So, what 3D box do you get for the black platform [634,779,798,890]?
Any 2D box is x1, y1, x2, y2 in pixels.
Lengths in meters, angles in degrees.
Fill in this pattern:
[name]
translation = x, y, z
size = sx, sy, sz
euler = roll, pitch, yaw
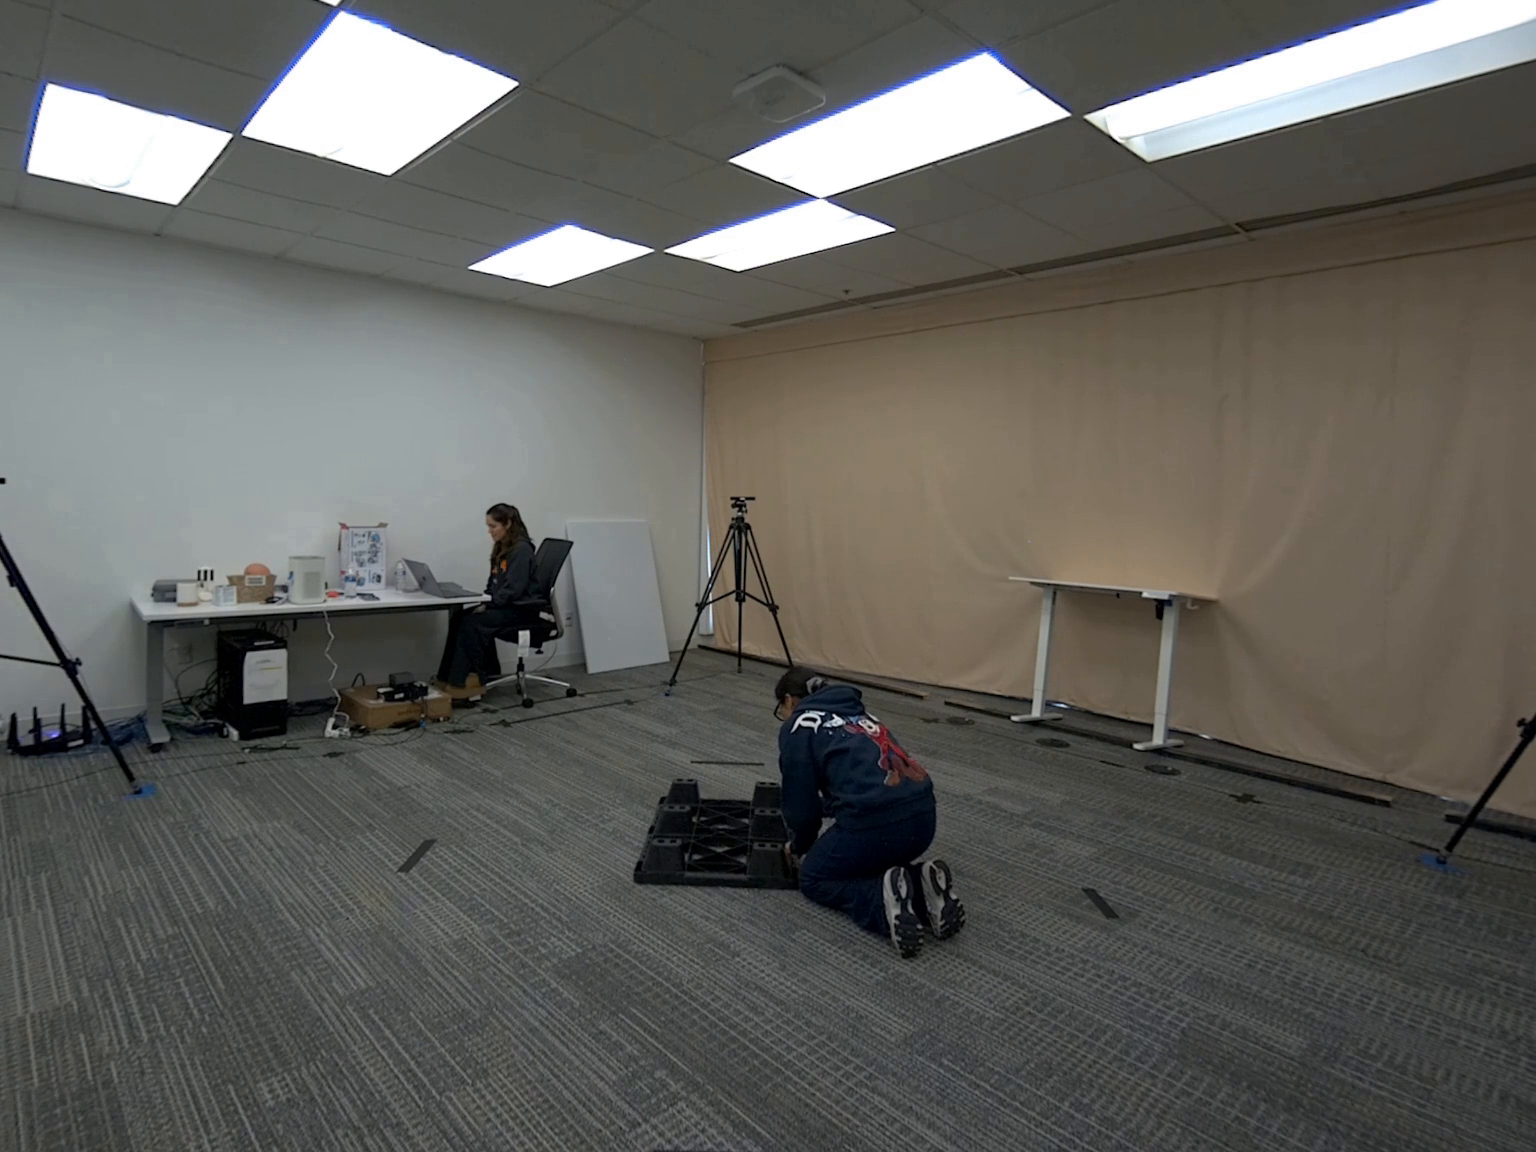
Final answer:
[black platform]
translation = -0.188, 1.012, 3.405
size = 0.605, 0.143, 0.808
euler = 1, 5, -1
